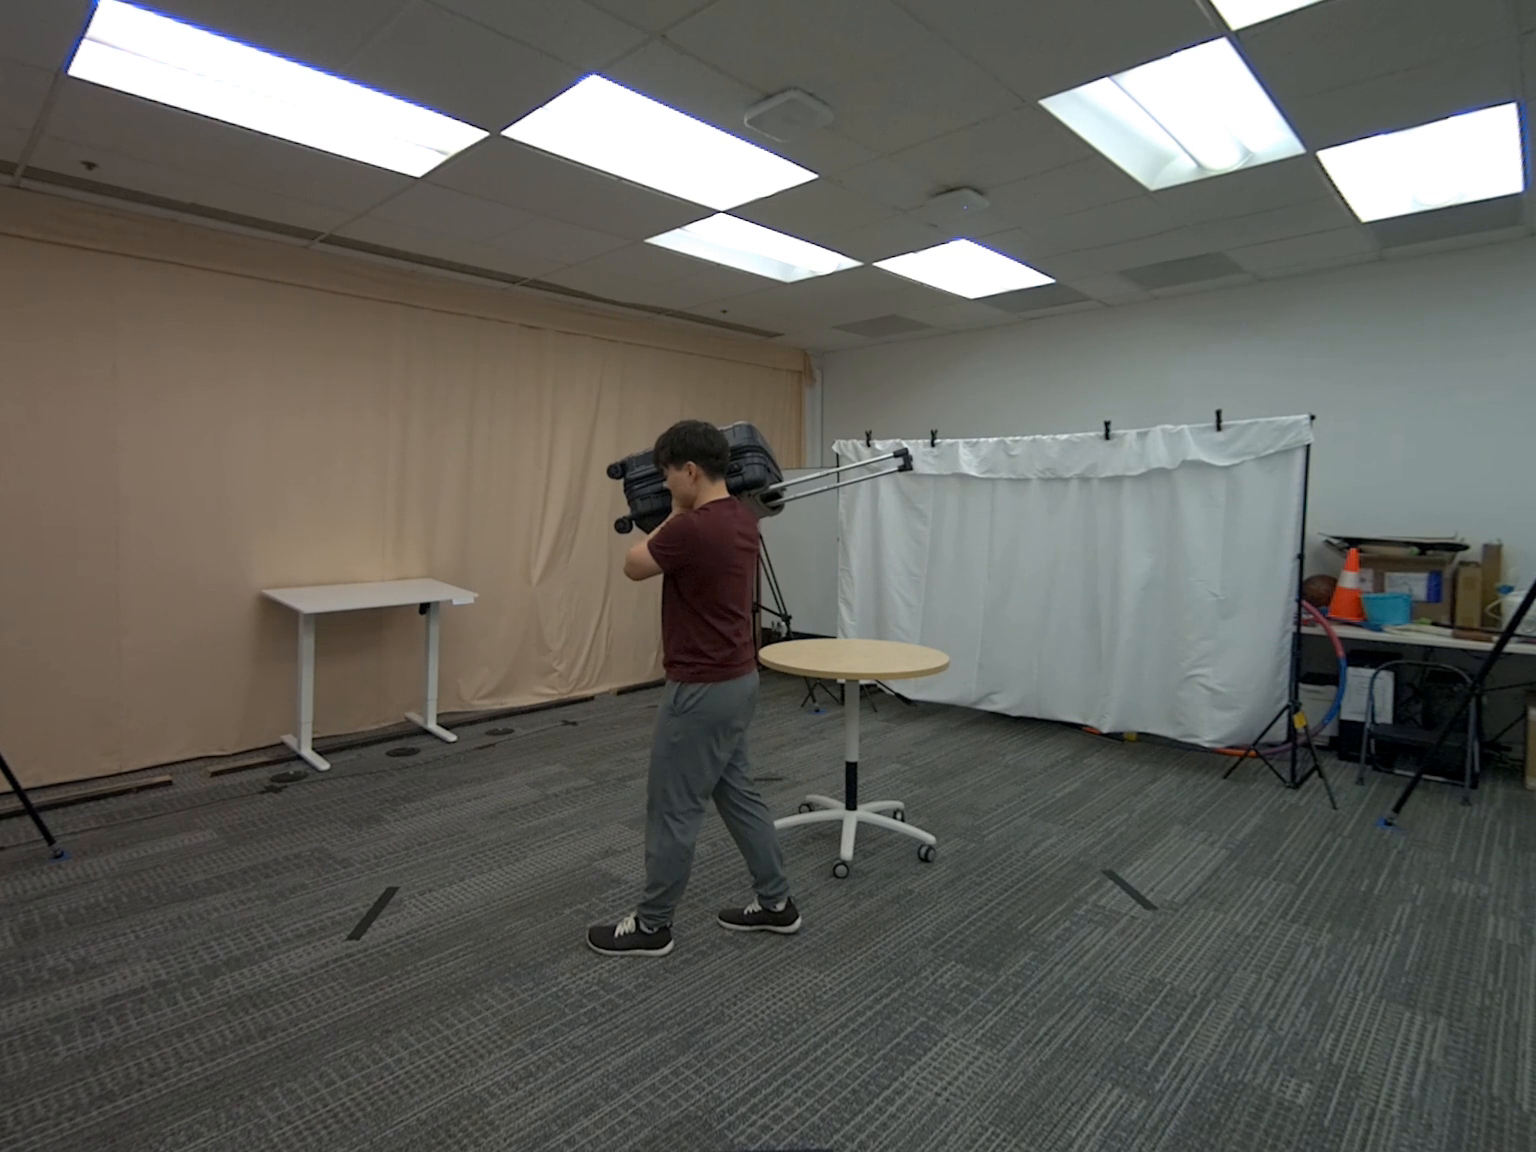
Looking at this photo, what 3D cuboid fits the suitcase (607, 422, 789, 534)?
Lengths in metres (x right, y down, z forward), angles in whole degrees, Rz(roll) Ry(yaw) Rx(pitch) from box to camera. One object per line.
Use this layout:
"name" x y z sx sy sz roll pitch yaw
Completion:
"suitcase" -0.036 -0.365 2.861 0.989 0.261 0.373 -16 -21 13
